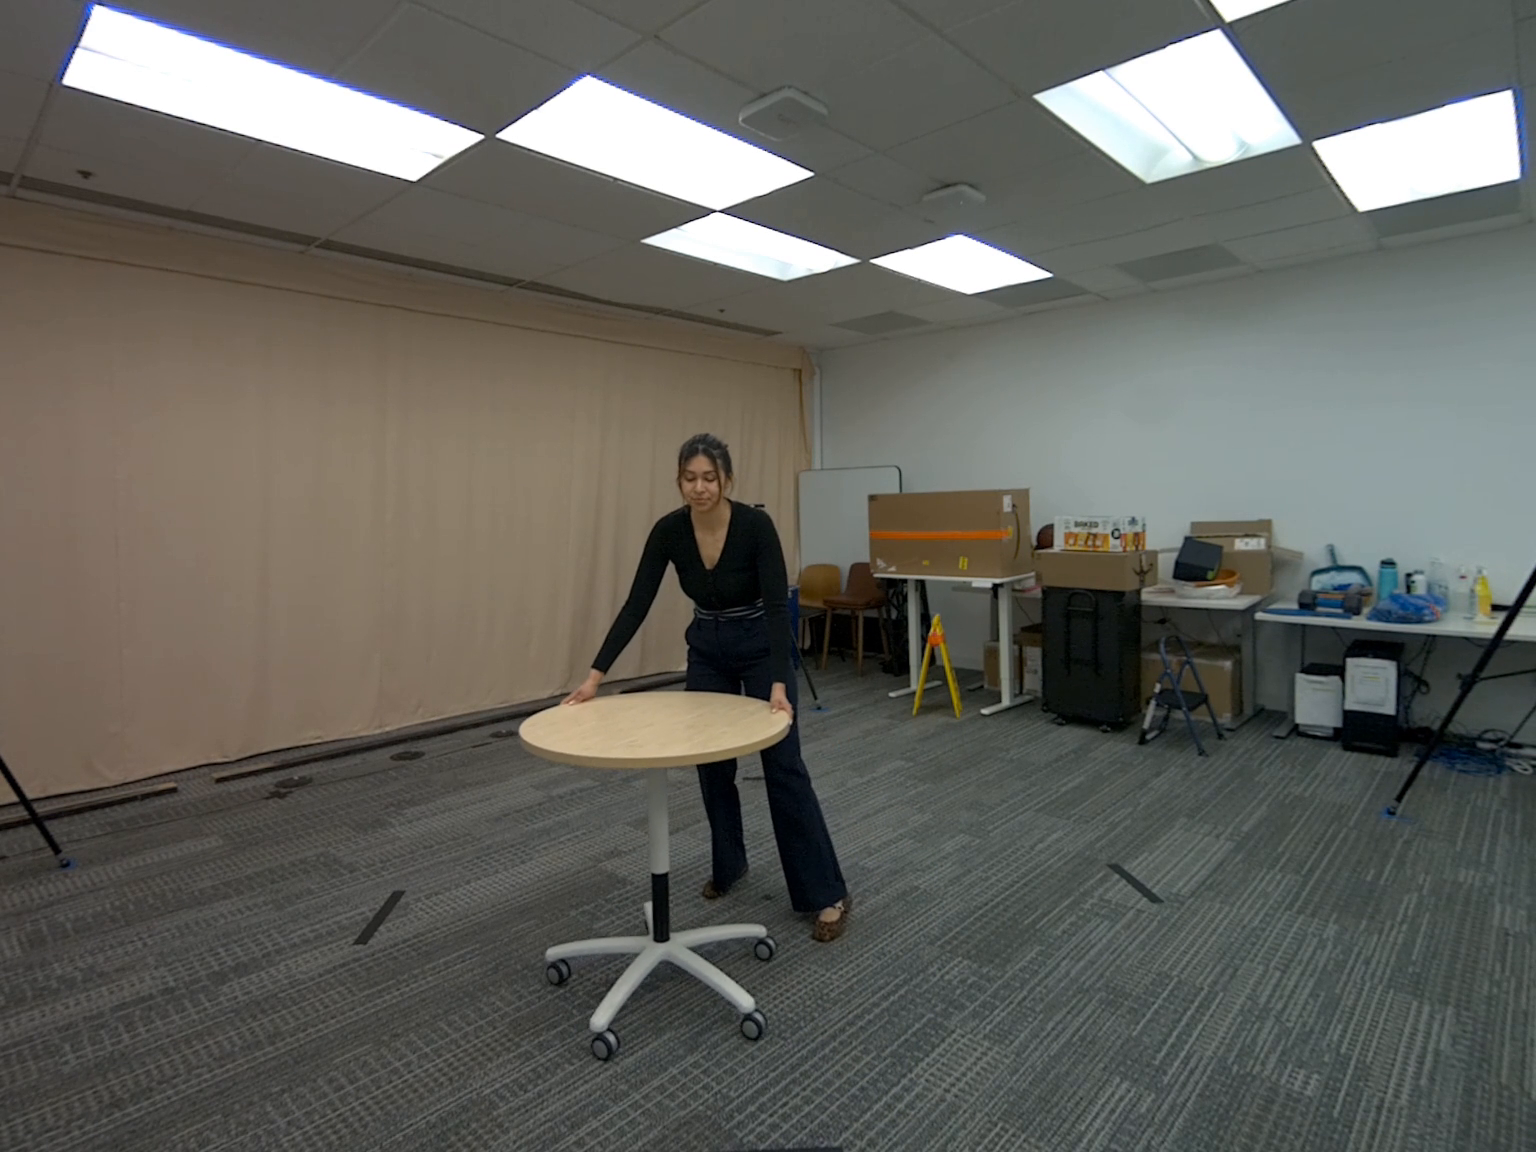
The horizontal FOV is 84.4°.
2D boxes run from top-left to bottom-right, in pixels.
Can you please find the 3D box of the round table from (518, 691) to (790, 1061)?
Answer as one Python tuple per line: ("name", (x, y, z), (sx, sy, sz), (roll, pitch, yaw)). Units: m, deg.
("round table", (-0.305, 0.805, 2.430), (0.763, 0.792, 0.766), (-2, 3, -2))
